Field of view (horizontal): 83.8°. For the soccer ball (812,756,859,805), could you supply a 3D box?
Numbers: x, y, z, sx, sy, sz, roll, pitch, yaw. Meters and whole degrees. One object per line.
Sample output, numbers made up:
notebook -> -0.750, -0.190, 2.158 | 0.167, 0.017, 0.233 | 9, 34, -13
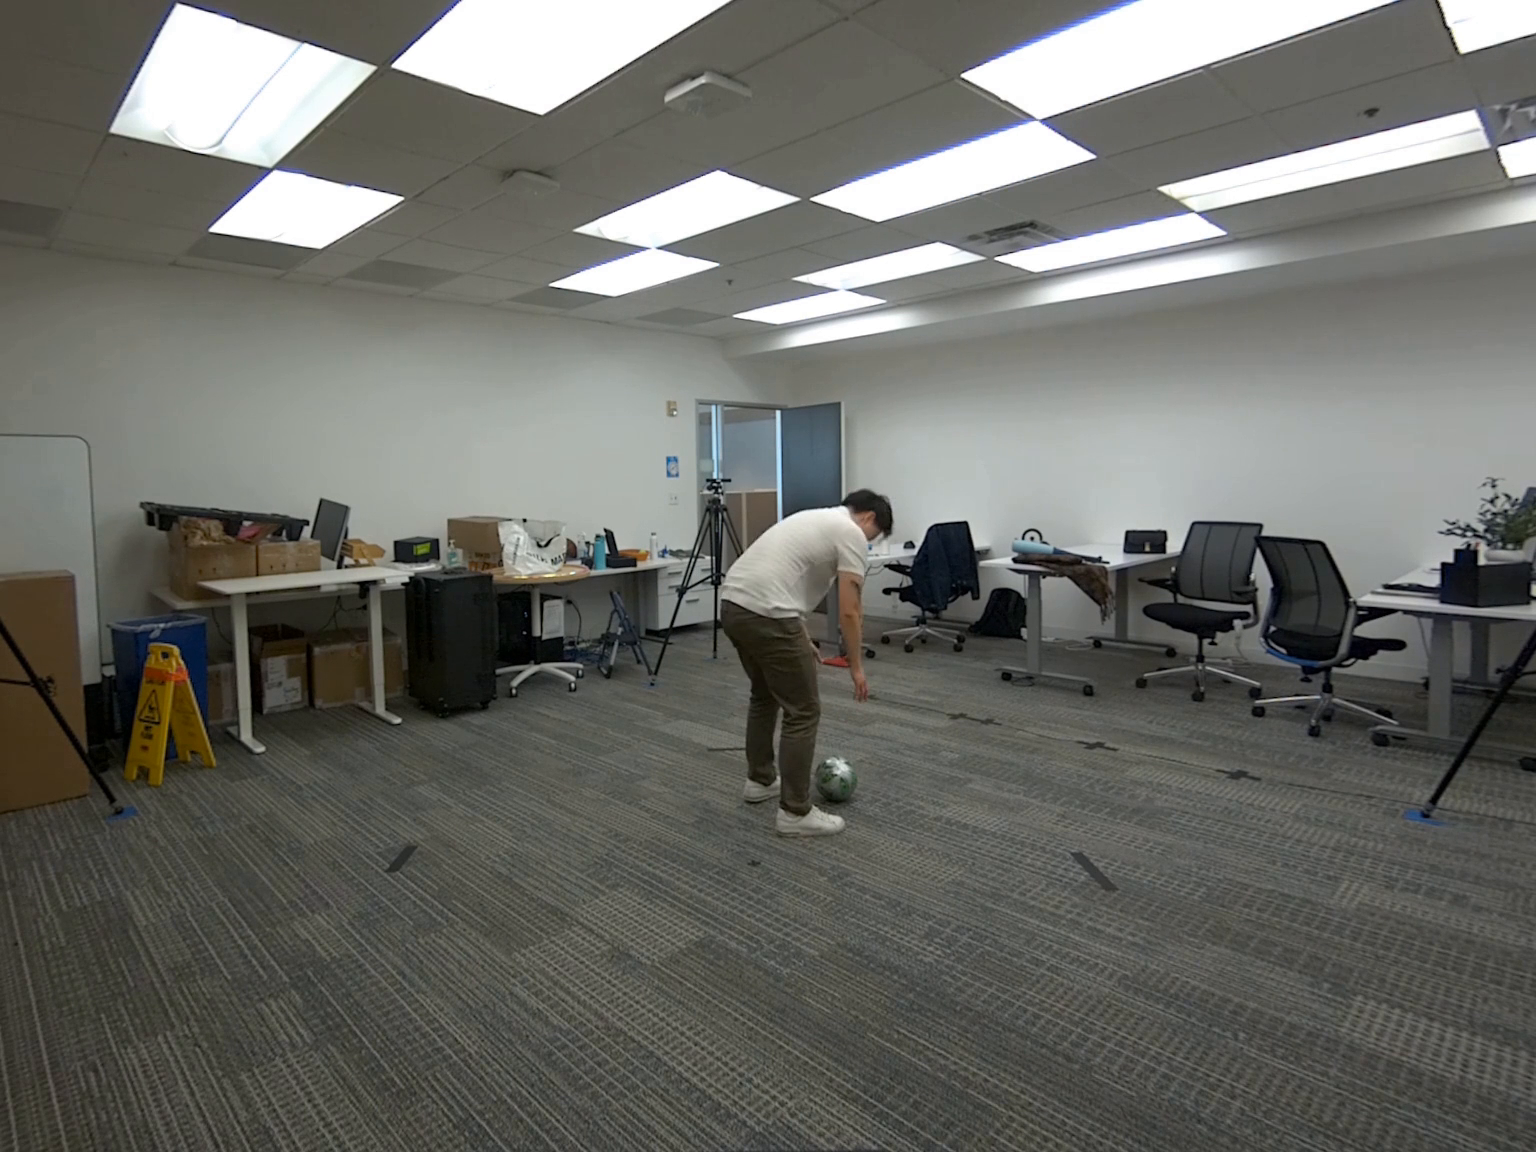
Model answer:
soccer ball -> 0.289, 0.877, 3.698 | 0.187, 0.187, 0.188 | -1, 5, -2
